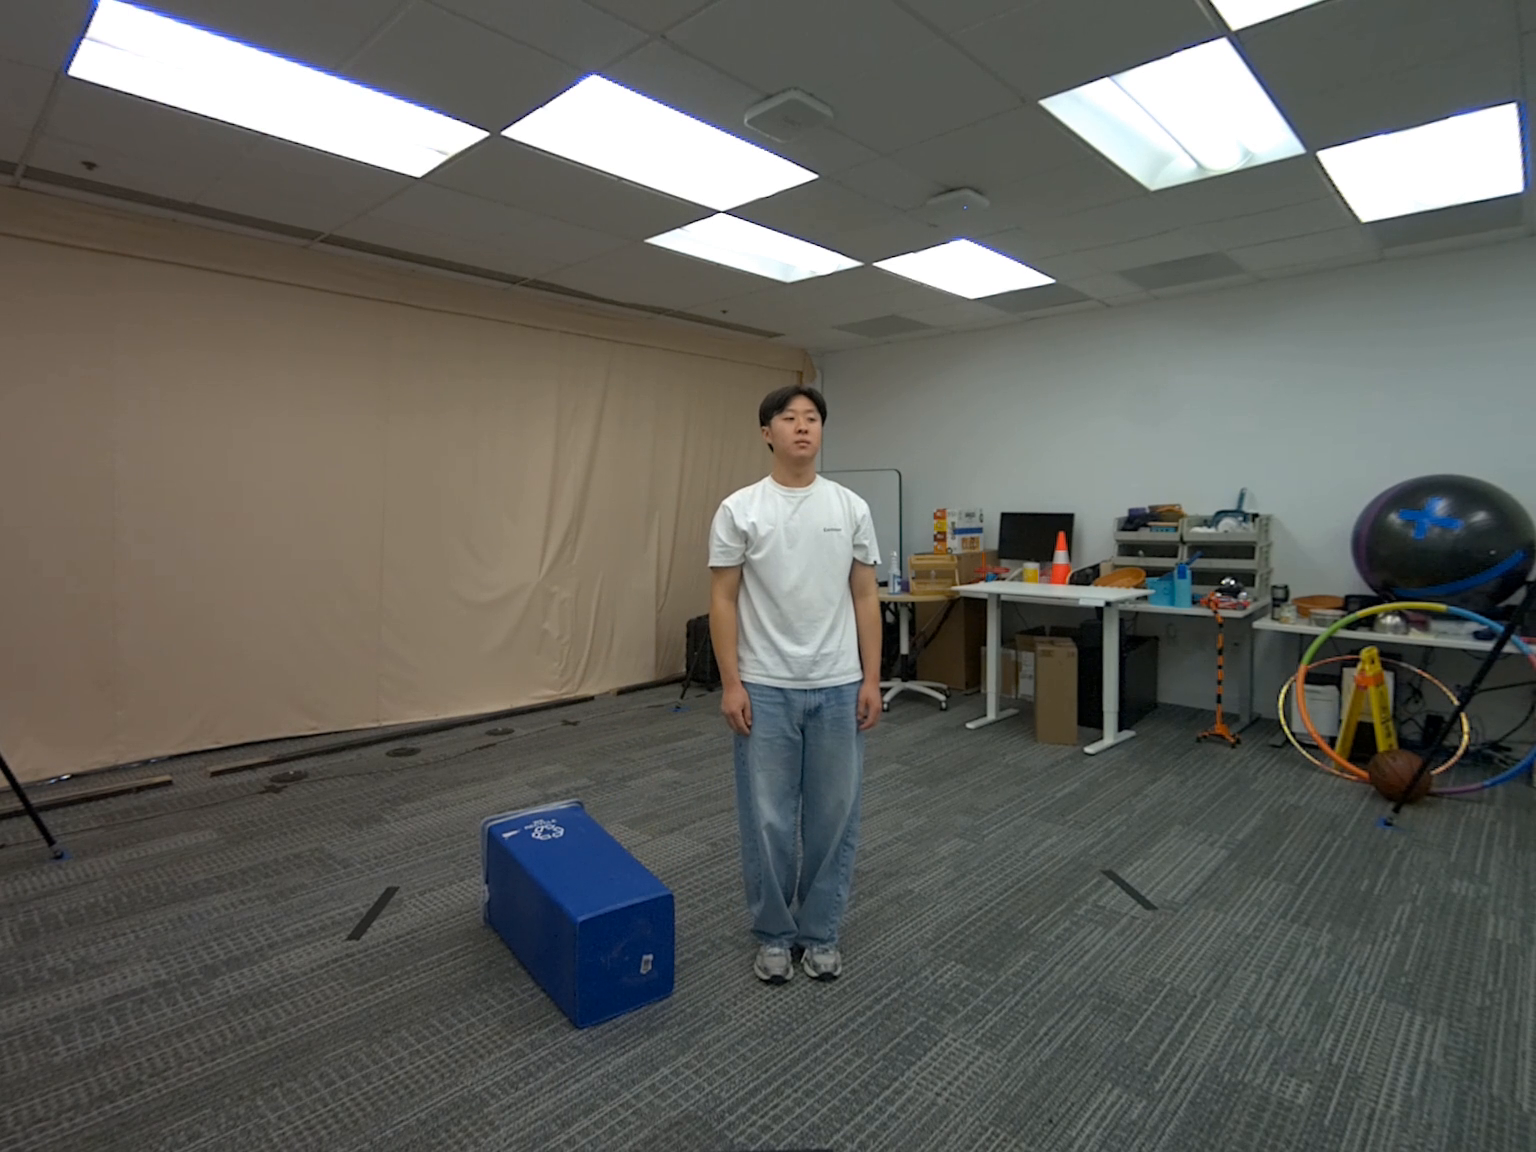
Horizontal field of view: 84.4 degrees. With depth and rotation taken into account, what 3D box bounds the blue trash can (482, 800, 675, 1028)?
[{"bbox_3d":[-0.590,1.004,2.595,0.367,0.373,0.737,-2,6,-36],"label":"blue trash can"}]
